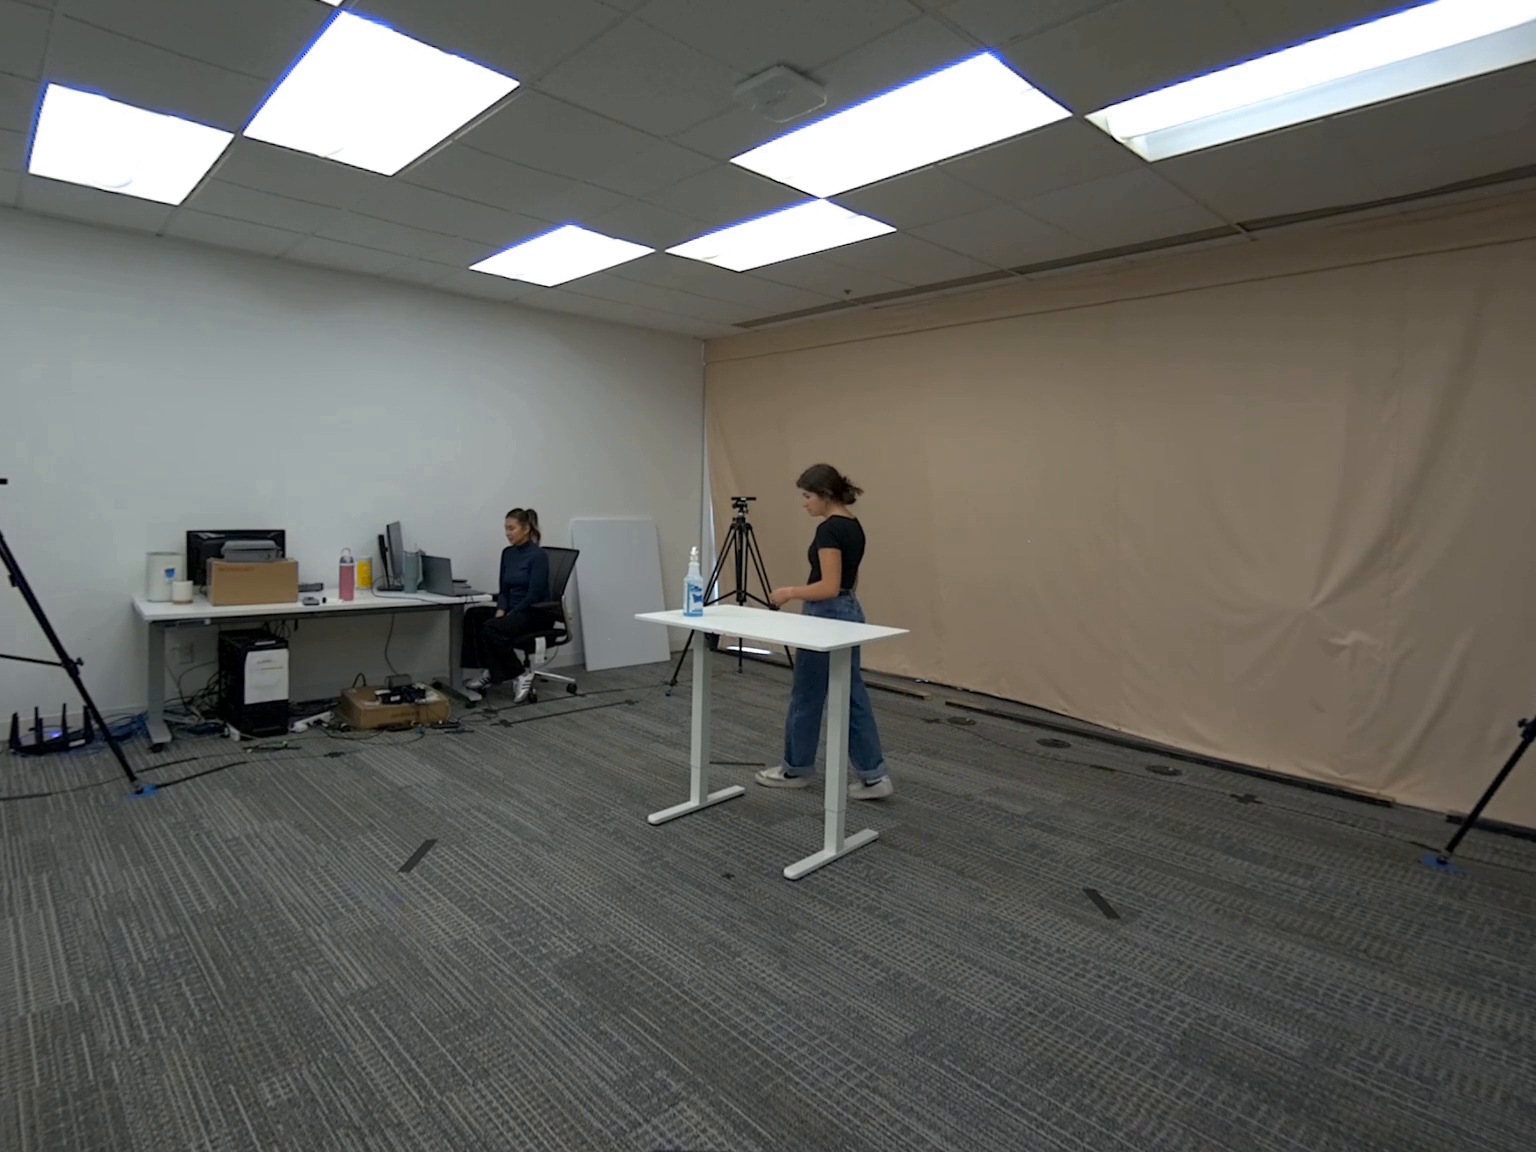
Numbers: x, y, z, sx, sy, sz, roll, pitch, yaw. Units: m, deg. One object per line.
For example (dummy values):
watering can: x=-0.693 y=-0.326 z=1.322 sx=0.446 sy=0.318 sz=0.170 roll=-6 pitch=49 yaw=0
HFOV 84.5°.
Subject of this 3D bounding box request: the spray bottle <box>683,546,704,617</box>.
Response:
spray bottle: x=-0.335 y=0.029 z=3.645 sx=0.088 sy=0.297 sz=0.088 roll=0 pitch=1 yaw=24
